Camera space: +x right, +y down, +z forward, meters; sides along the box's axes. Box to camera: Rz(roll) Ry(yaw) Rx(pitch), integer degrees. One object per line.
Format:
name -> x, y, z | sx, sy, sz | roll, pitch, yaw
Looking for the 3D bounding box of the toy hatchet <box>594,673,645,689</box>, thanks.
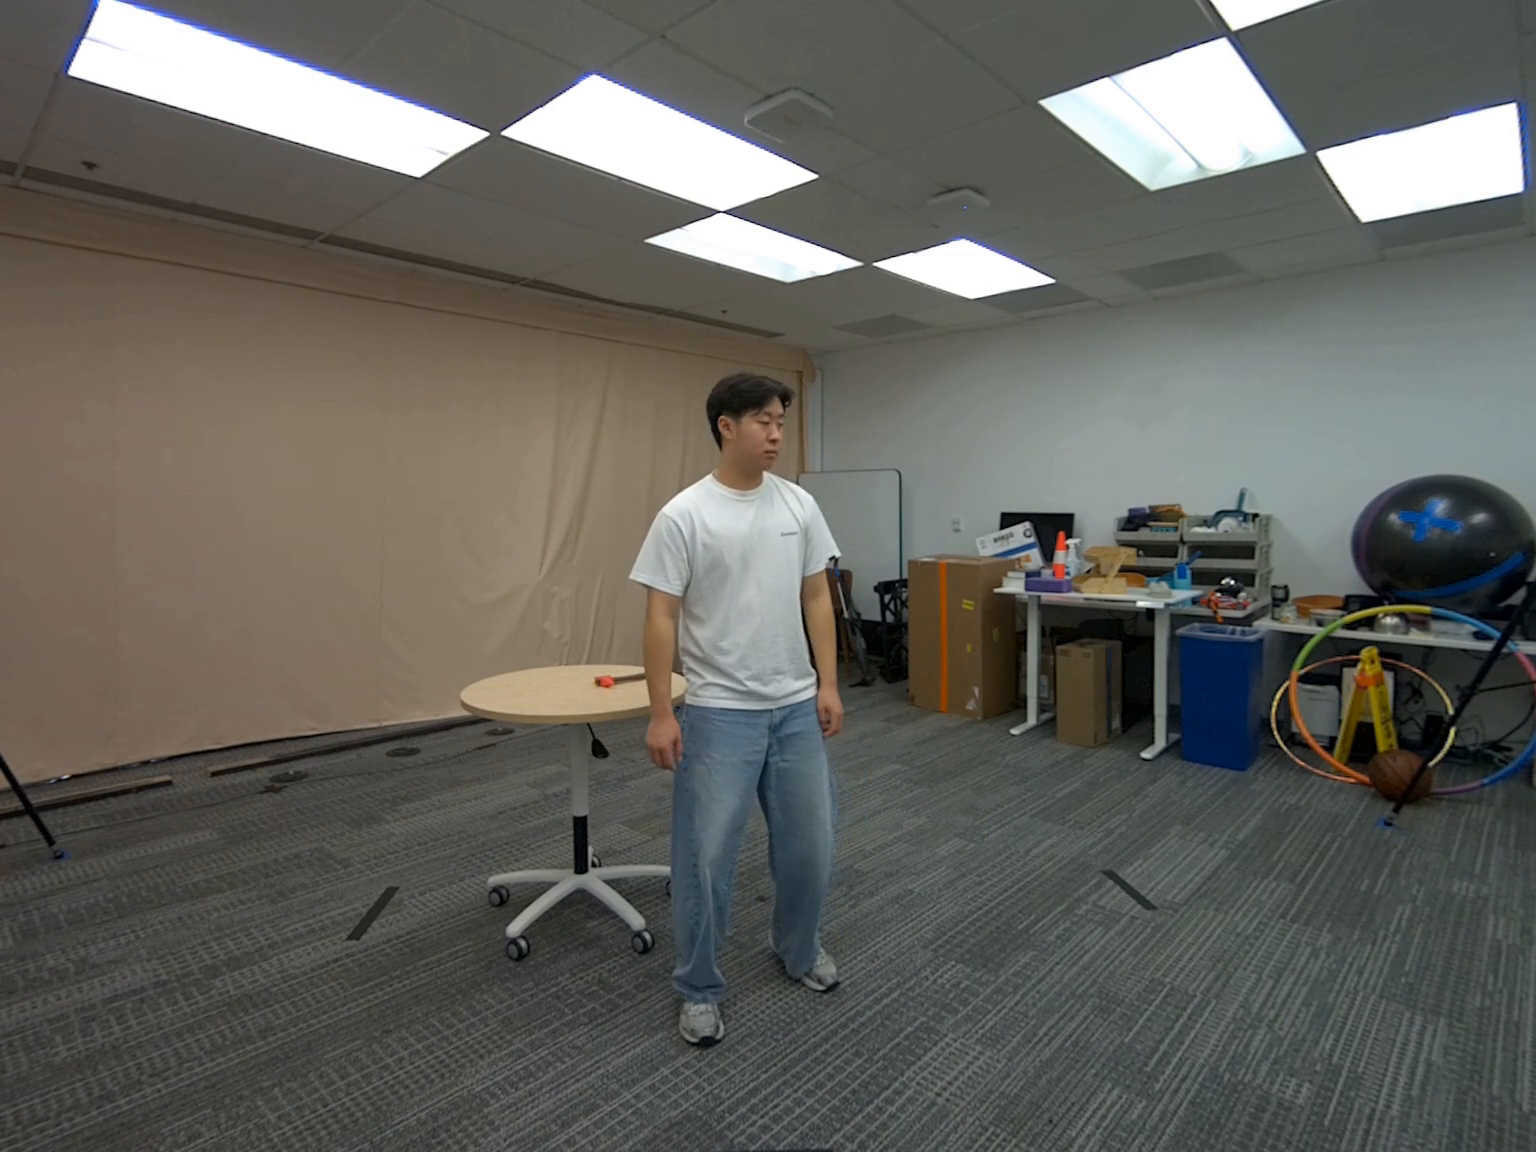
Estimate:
toy hatchet -> -0.505, 0.357, 2.955 | 0.135, 0.029, 0.262 | -1, 2, 35
